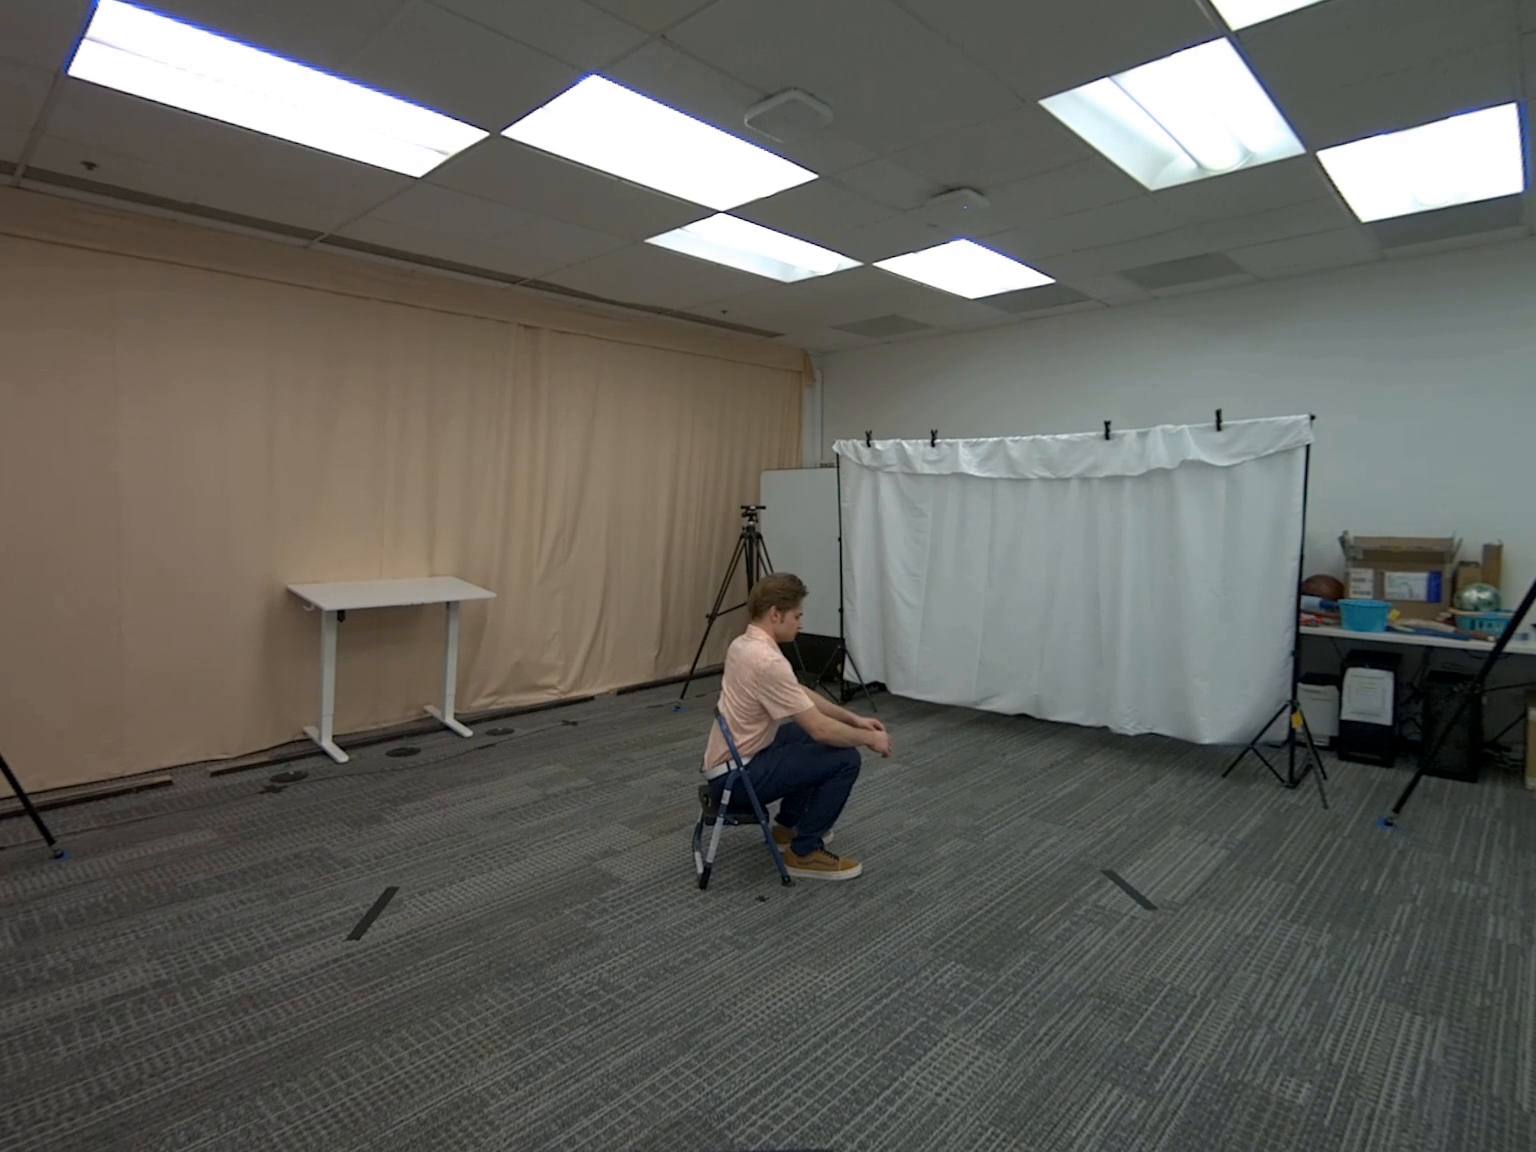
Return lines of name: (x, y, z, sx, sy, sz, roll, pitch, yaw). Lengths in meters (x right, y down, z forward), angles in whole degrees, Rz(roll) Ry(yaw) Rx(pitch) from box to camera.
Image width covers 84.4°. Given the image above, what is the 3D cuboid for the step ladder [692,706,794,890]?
step ladder: (-0.113, 0.829, 3.262, 0.346, 0.605, 0.435, 0, 3, -9)
